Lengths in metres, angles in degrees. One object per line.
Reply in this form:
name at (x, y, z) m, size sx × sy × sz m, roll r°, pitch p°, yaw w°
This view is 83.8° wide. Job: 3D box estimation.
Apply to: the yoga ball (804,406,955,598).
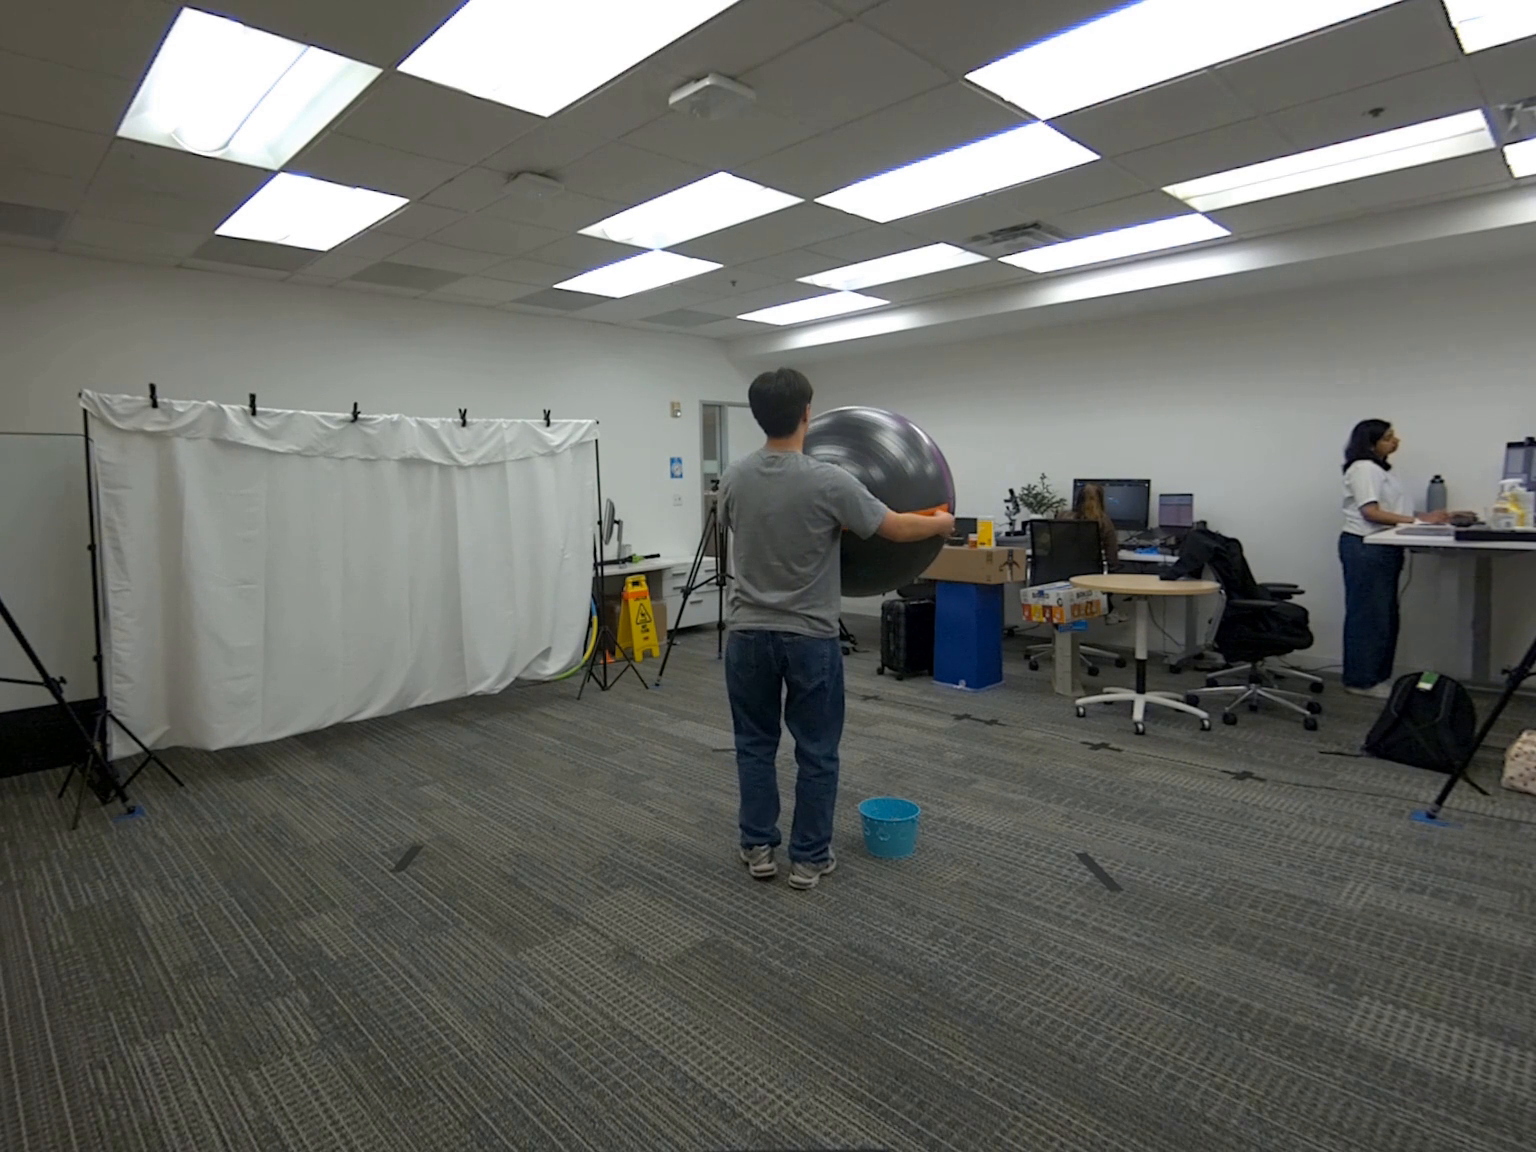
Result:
yoga ball at (0.359, -0.287, 3.416) m, size 0.757 × 0.755 × 0.762 m, roll -1°, pitch 5°, yaw -2°
